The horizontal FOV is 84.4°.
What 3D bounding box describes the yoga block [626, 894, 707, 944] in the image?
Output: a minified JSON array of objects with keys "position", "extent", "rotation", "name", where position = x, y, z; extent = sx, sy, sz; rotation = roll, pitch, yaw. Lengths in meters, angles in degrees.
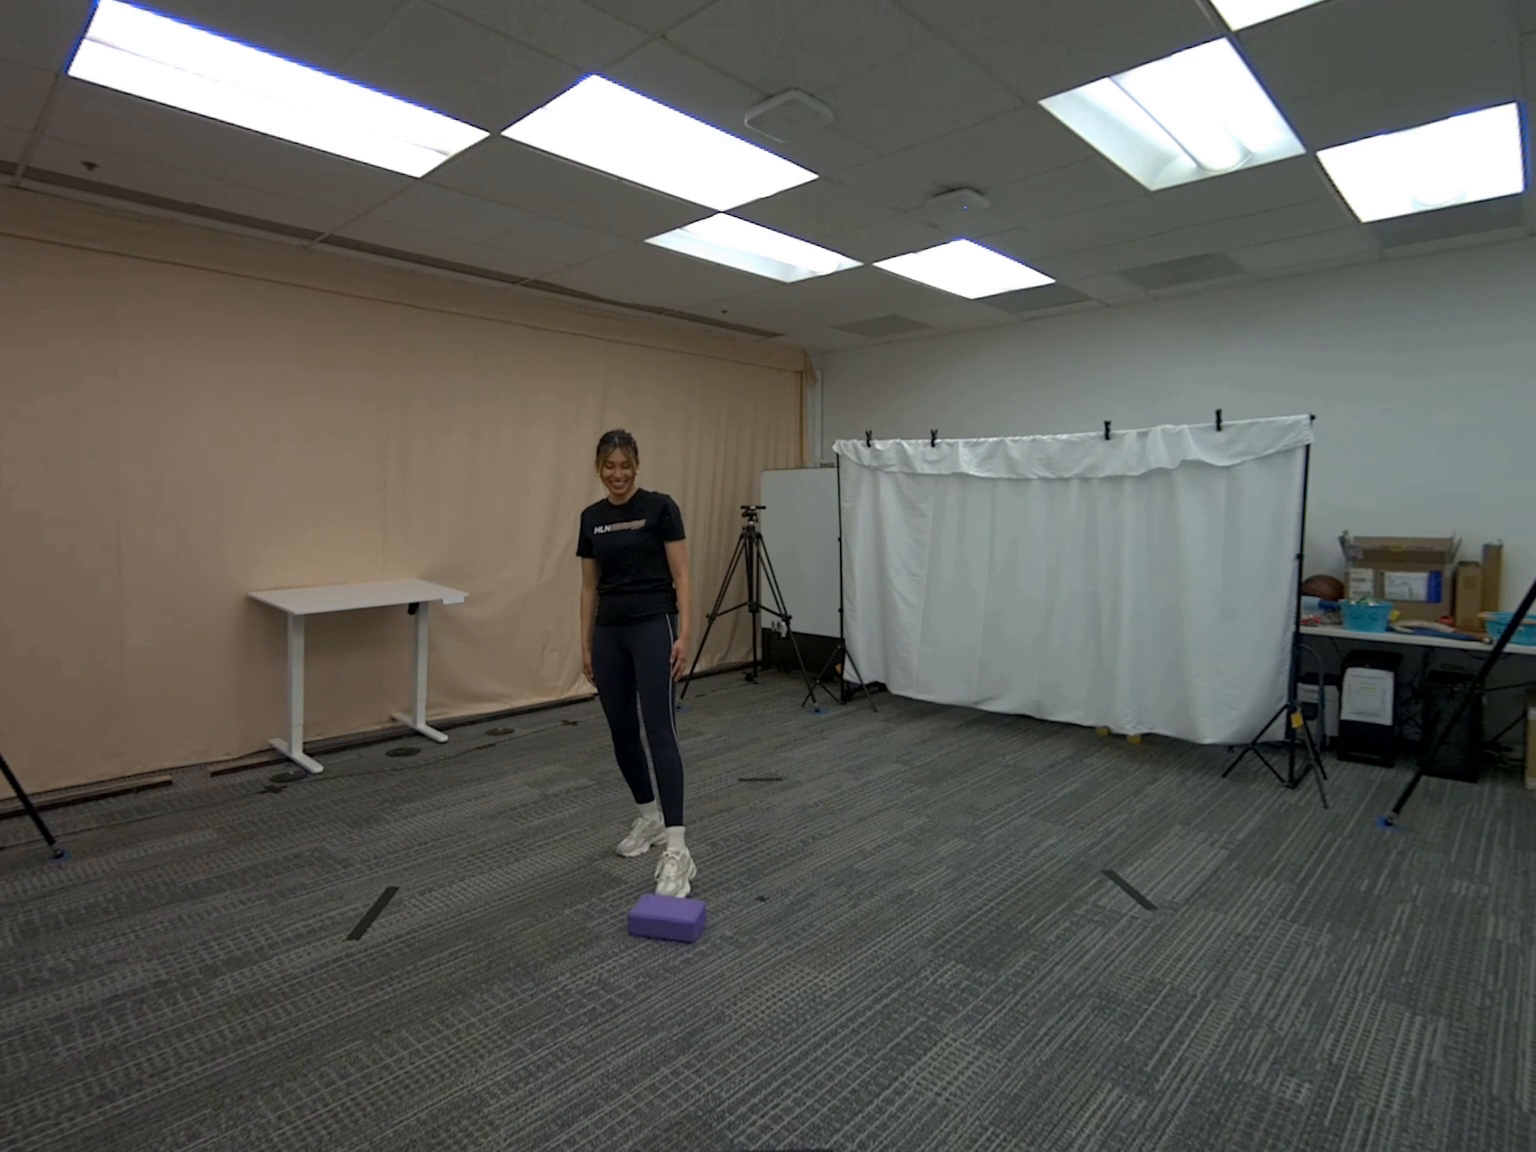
[{"position":[-0.328,1.123,2.761],"extent":[0.233,0.076,0.147],"rotation":[1,6,14],"name":"yoga block"}]
